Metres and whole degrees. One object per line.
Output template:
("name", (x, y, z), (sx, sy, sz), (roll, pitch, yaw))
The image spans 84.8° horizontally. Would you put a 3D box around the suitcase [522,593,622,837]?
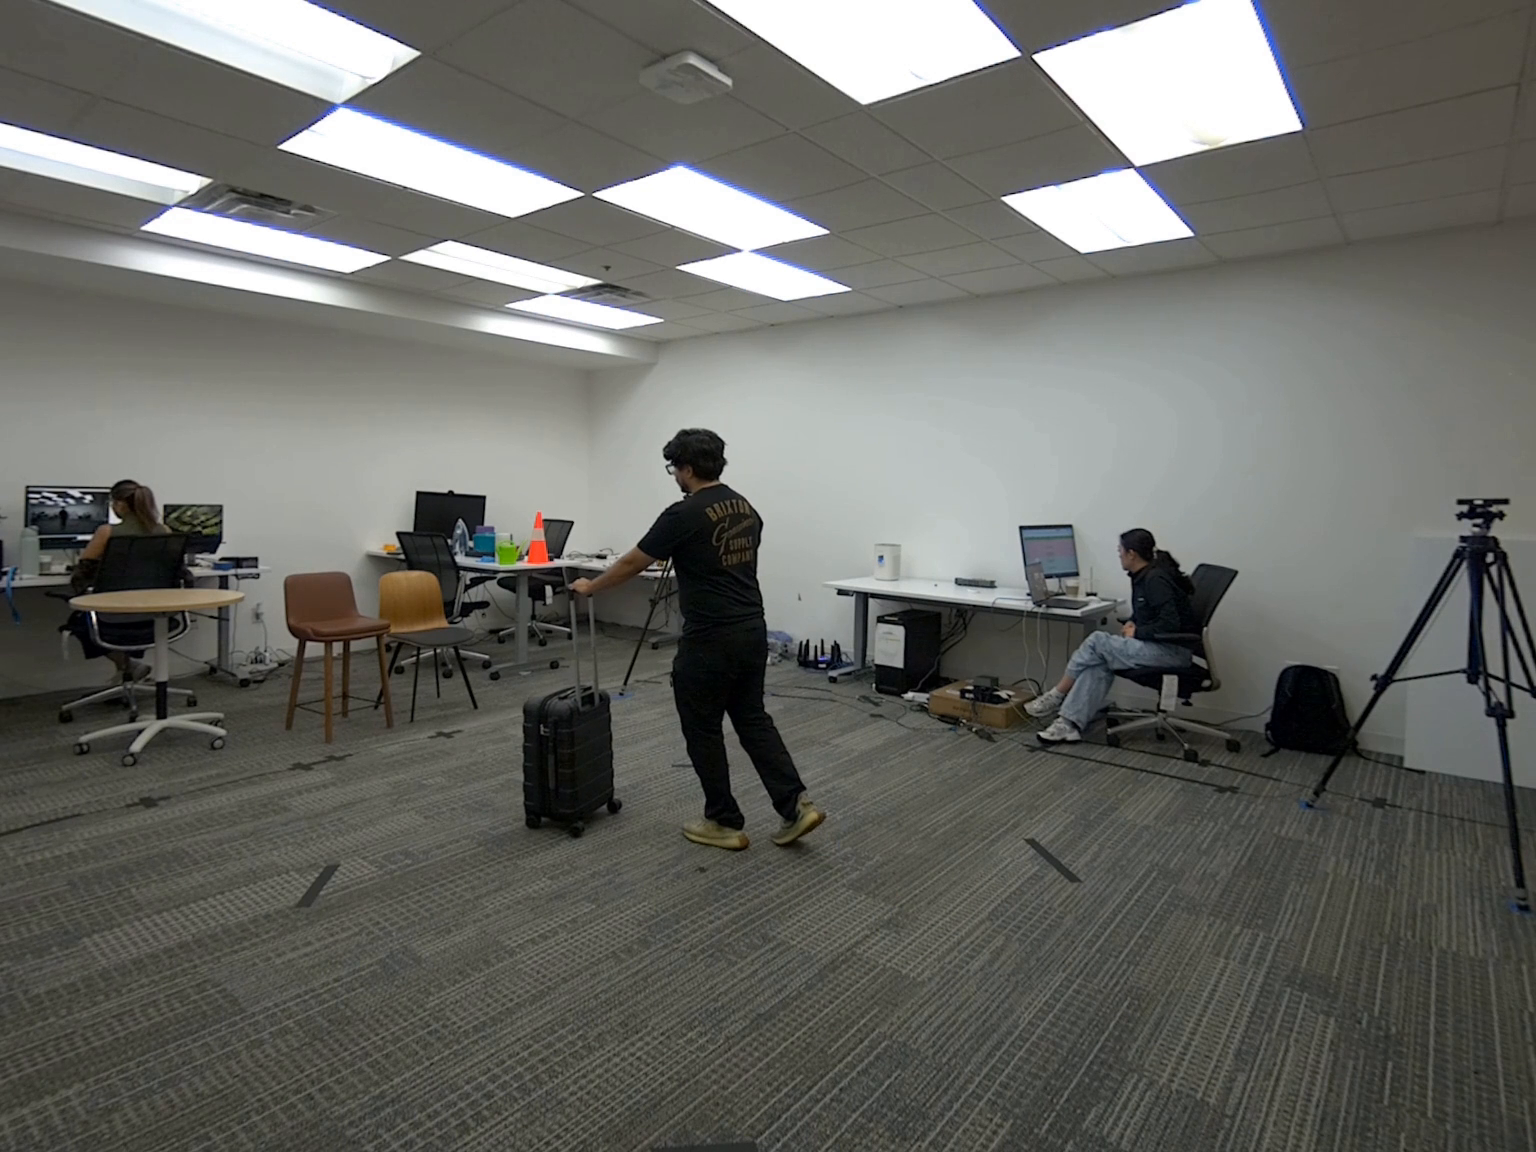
("suitcase", (-0.860, 0.542, 3.556), (0.263, 0.978, 0.376), (-4, 1, 22))
